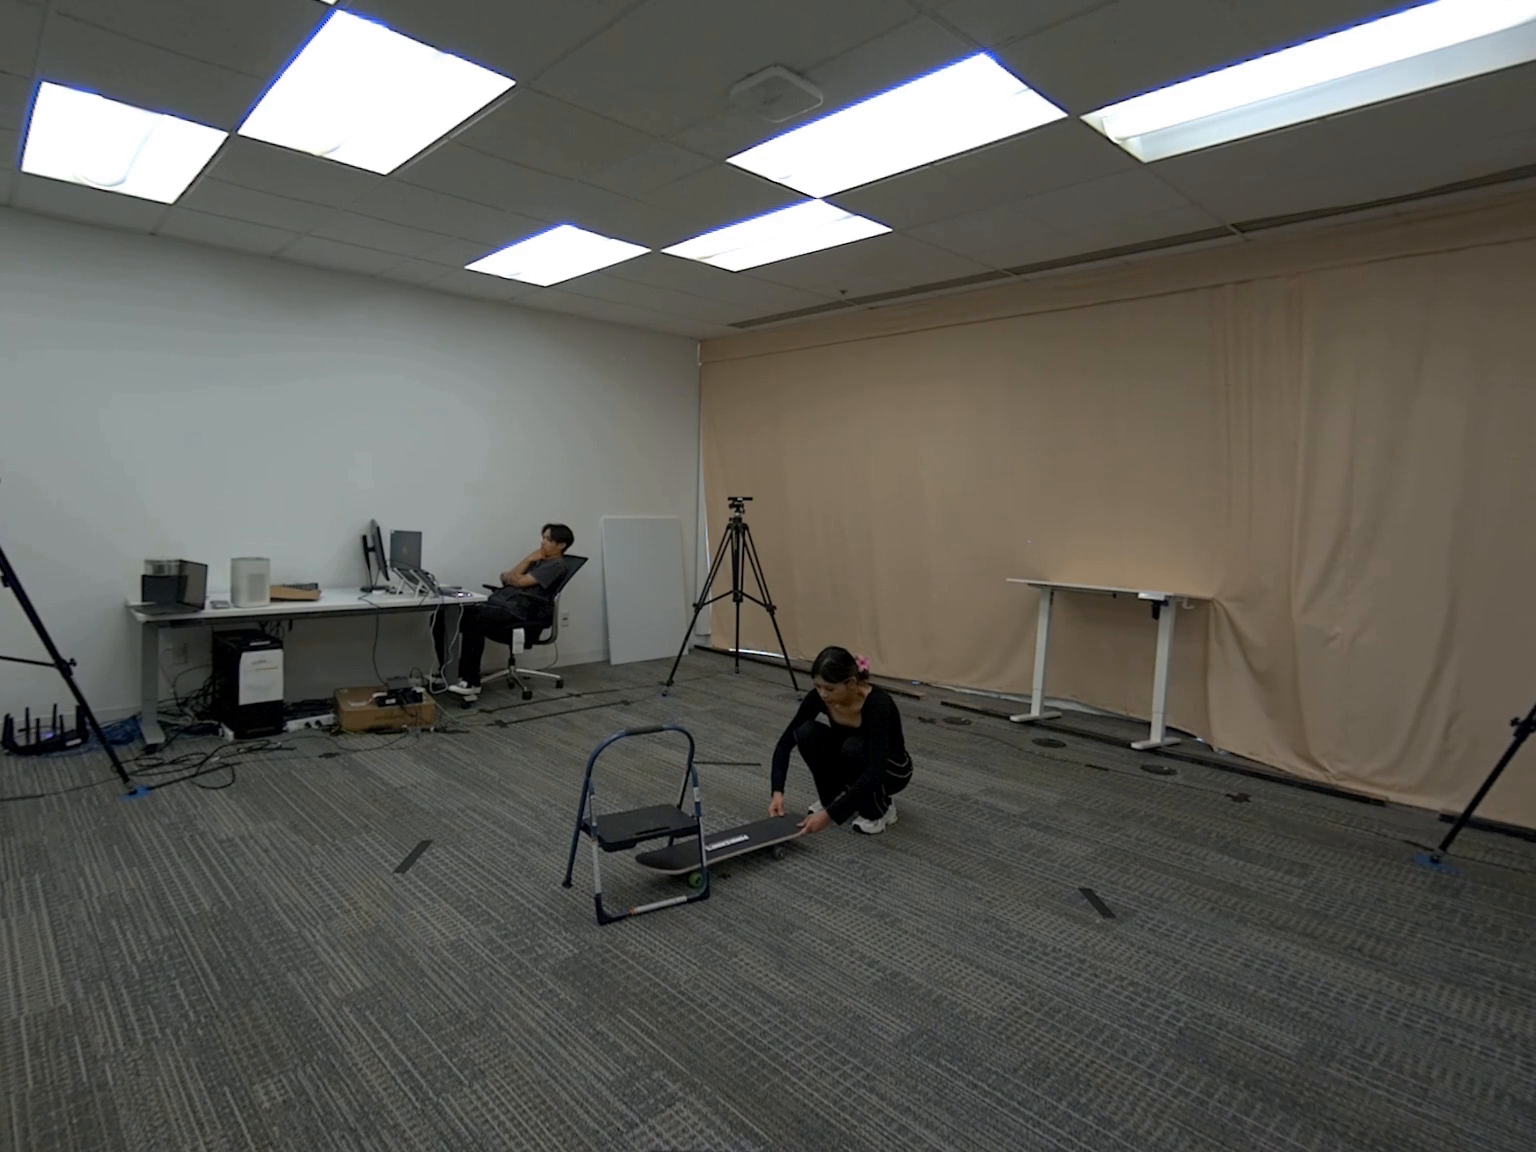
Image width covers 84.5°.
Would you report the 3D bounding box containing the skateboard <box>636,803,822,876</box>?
[{"bbox_3d":[-0.162,1.032,3.190,0.768,0.110,0.198,-2,7,-39],"label":"skateboard"}]
